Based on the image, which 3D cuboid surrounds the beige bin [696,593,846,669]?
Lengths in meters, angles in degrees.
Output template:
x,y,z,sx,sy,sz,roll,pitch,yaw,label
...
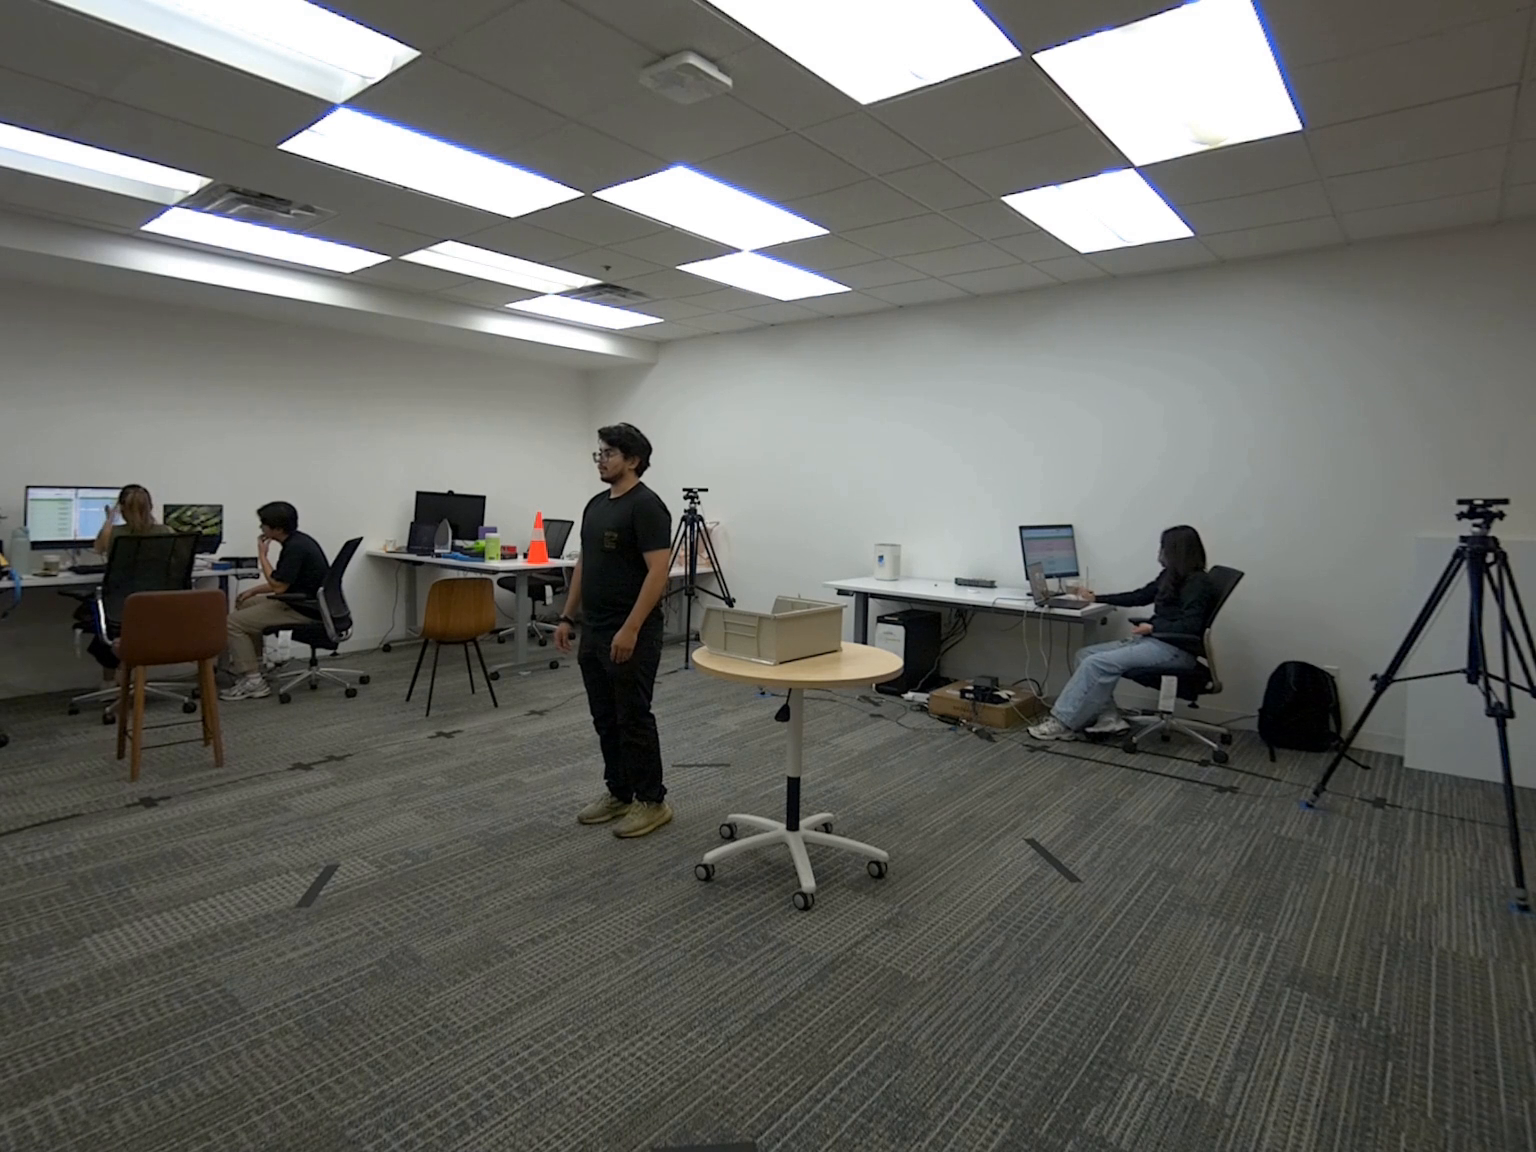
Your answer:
x,y,z,sx,sy,sz,roll,pitch,yaw,label
0.011,0.196,3.199,0.391,0.188,0.409,7,8,42,beige bin
